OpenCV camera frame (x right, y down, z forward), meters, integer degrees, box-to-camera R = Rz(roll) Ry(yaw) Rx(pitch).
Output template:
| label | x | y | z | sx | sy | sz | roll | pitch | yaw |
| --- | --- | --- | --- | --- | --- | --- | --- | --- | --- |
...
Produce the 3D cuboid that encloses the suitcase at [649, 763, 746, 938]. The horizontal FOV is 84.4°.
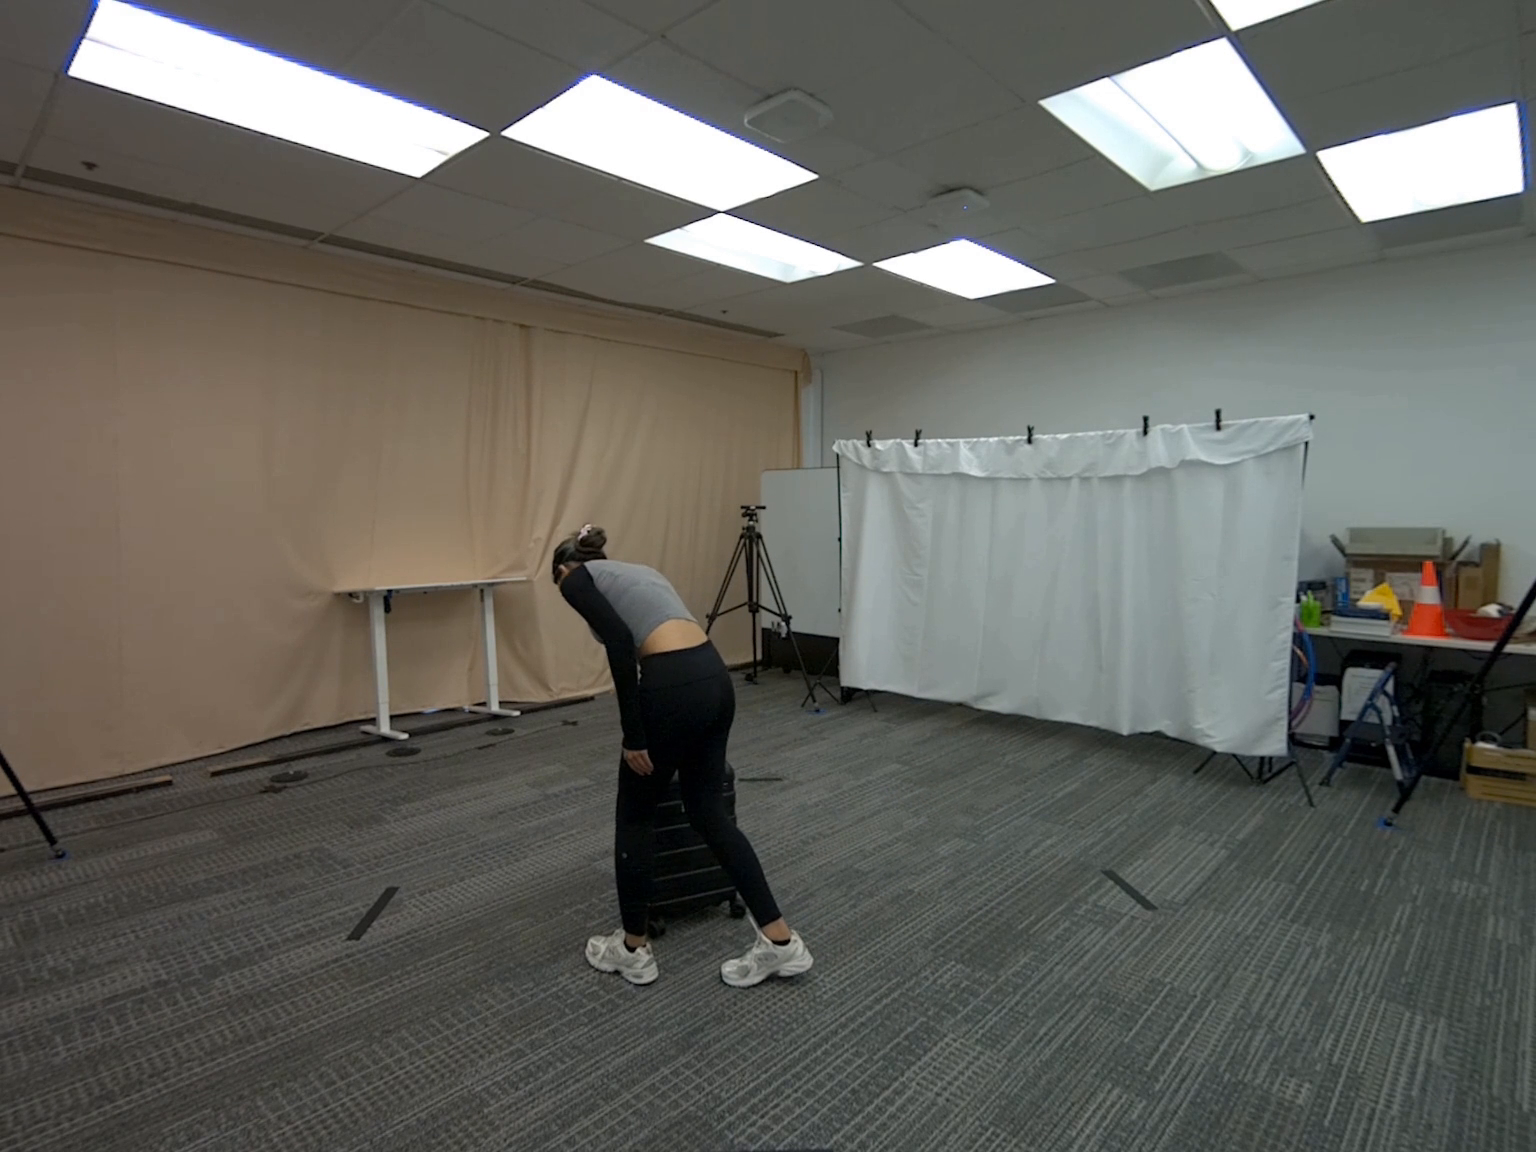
| label | x | y | z | sx | sy | sz | roll | pitch | yaw |
| --- | --- | --- | --- | --- | --- | --- | --- | --- | --- |
| suitcase | -0.292 | 0.880 | 2.885 | 0.367 | 0.549 | 0.254 | -2 | 1 | -24 |
